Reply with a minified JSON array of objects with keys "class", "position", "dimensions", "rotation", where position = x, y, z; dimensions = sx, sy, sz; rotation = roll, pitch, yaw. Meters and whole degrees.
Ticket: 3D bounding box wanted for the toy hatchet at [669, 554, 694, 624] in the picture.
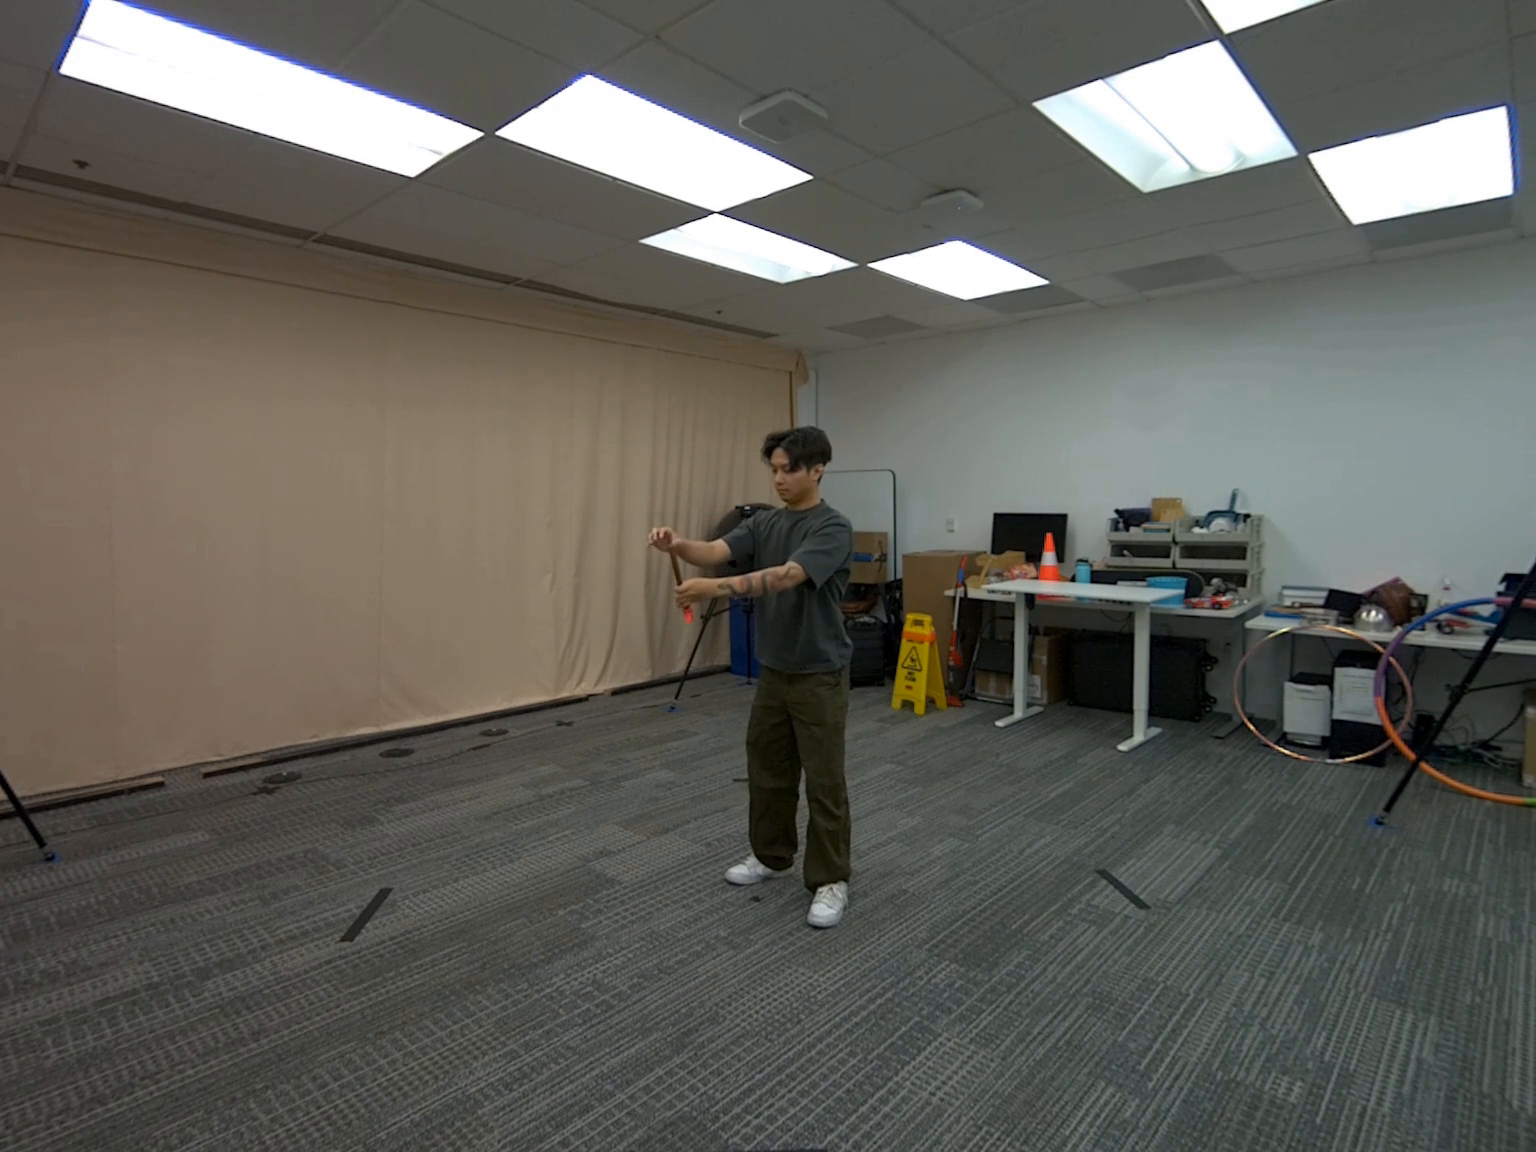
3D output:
[{"class":"toy hatchet","position":[-0.270,0.016,2.662],"dimensions":[0.029,0.268,0.132],"rotation":[-14,9,1]}]
